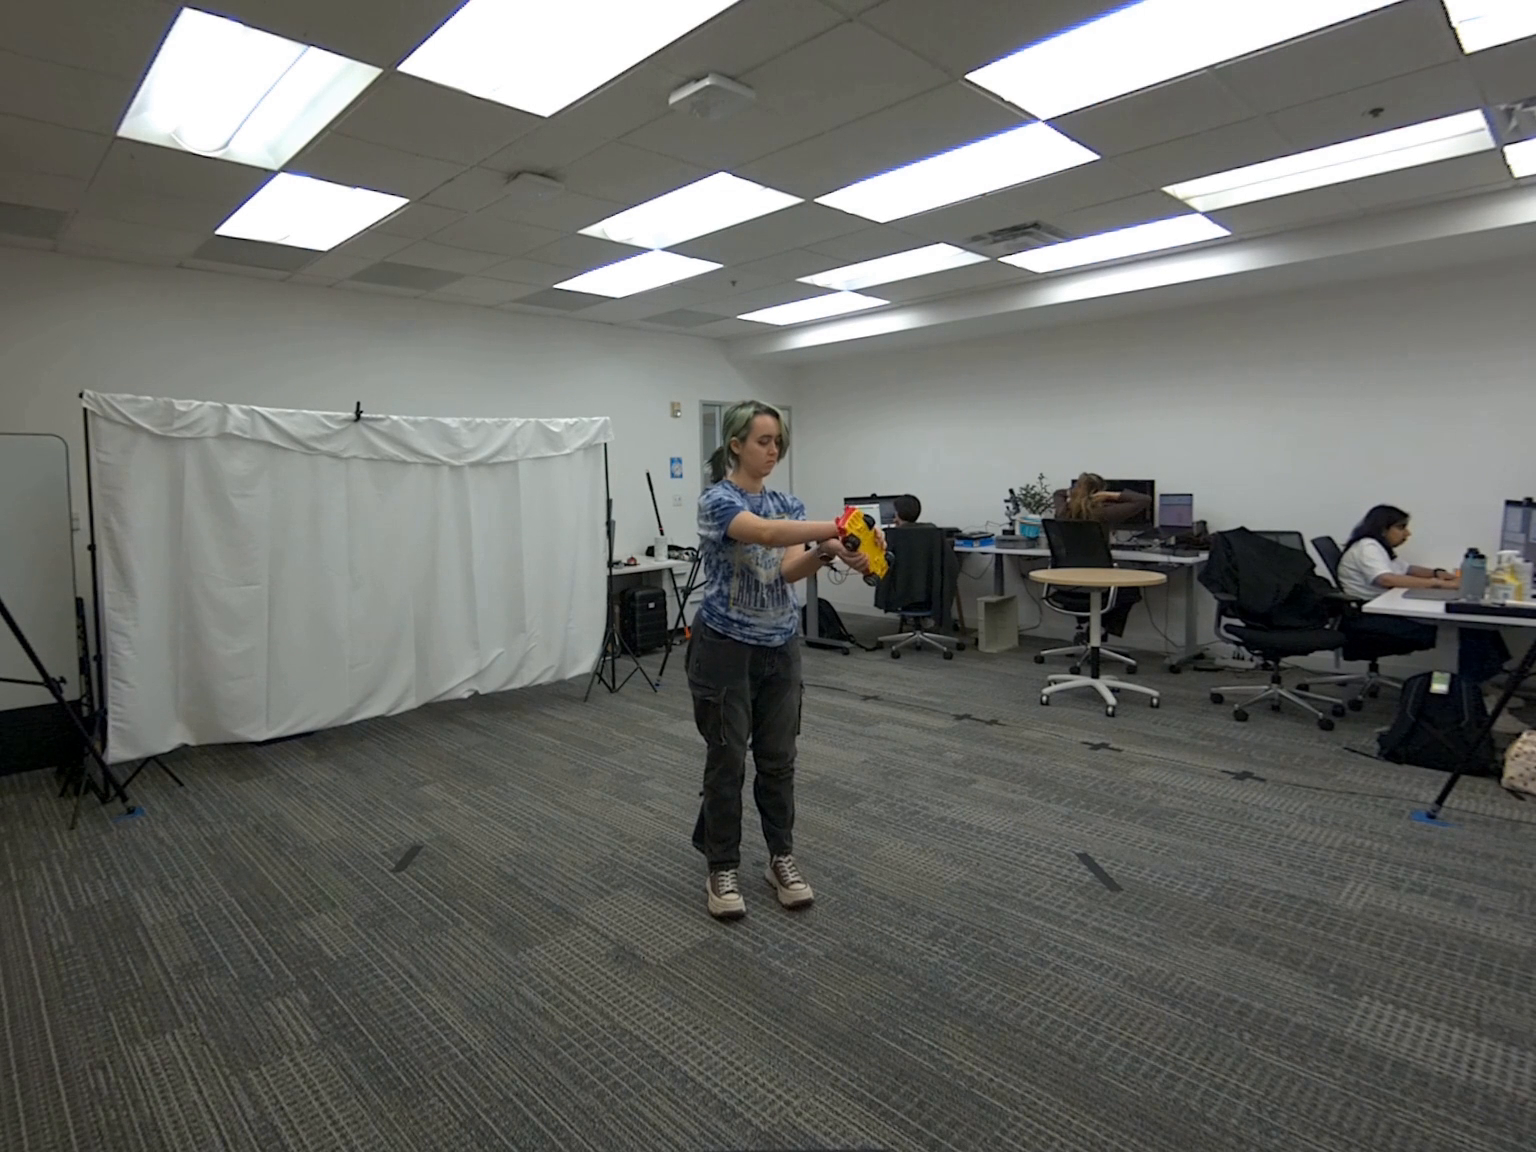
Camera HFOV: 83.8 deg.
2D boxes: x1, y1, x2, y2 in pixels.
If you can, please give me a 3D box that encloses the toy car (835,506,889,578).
[{"bbox_3d":[0.277,-0.089,2.488,0.130,0.249,0.085,-50,20,-28],"label":"toy car"}]
